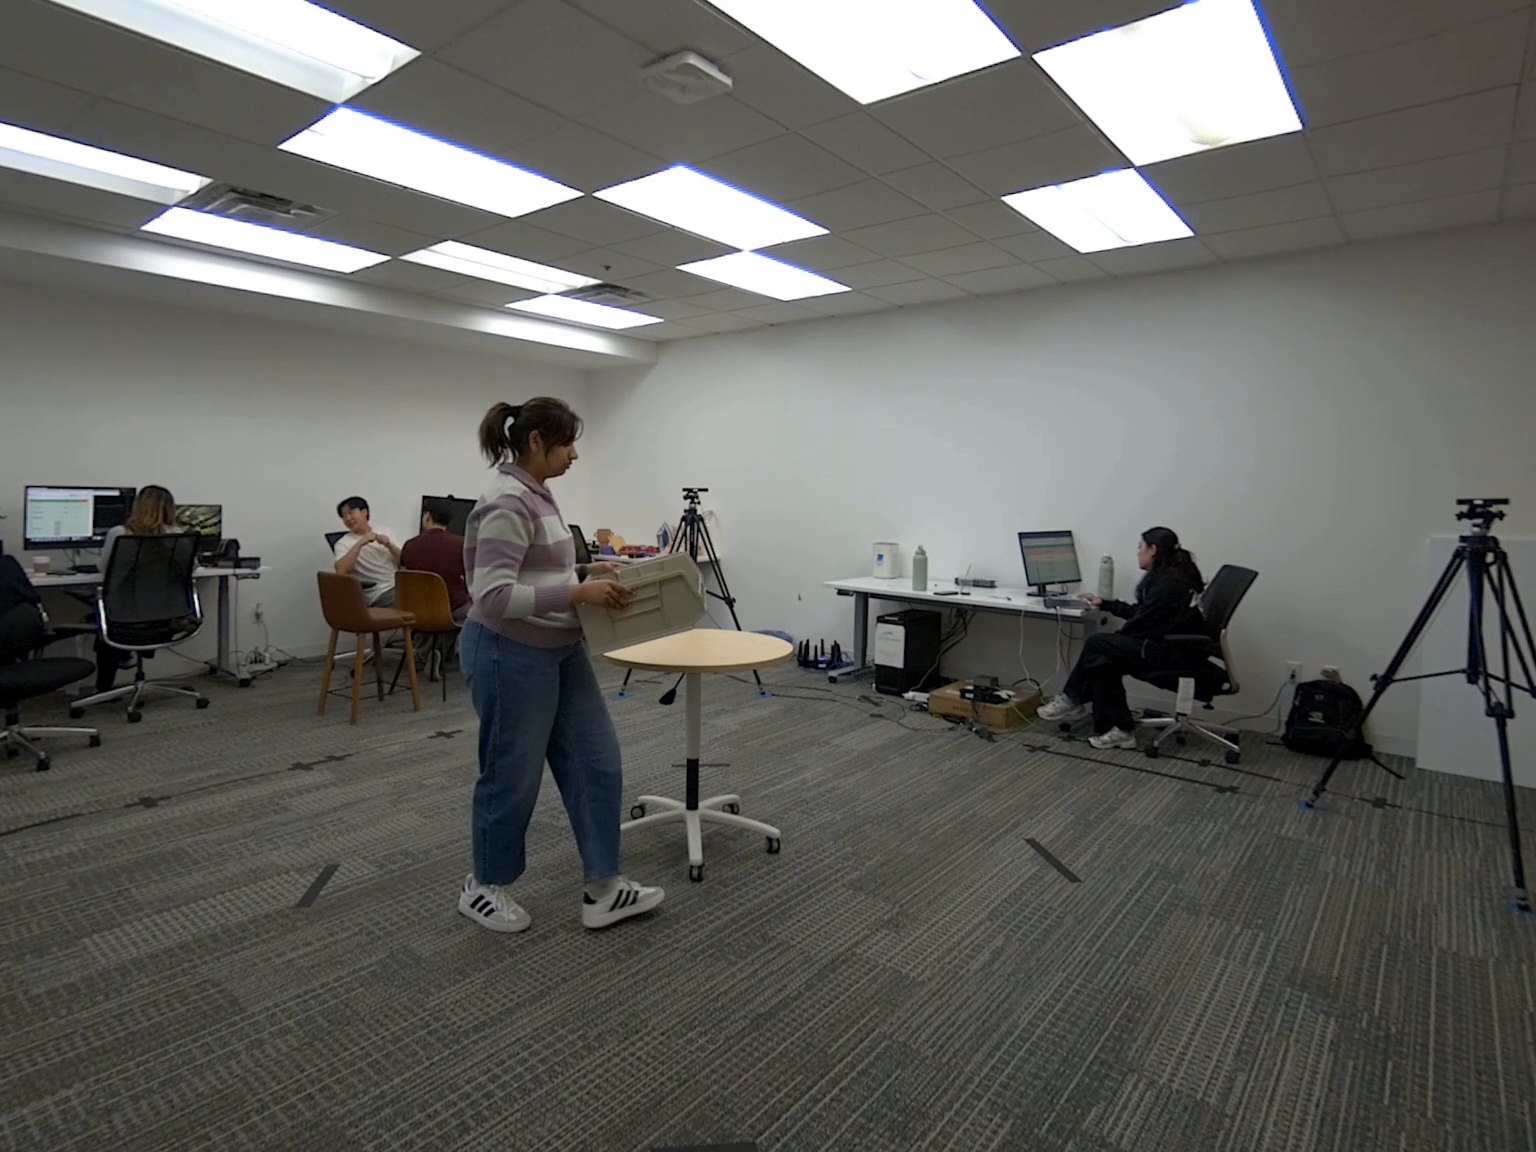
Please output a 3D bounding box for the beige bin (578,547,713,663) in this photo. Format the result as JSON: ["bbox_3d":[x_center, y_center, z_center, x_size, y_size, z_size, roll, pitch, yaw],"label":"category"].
[{"bbox_3d":[-0.391,0.080,2.689,0.377,0.187,0.427,-15,12,-1],"label":"beige bin"}]
